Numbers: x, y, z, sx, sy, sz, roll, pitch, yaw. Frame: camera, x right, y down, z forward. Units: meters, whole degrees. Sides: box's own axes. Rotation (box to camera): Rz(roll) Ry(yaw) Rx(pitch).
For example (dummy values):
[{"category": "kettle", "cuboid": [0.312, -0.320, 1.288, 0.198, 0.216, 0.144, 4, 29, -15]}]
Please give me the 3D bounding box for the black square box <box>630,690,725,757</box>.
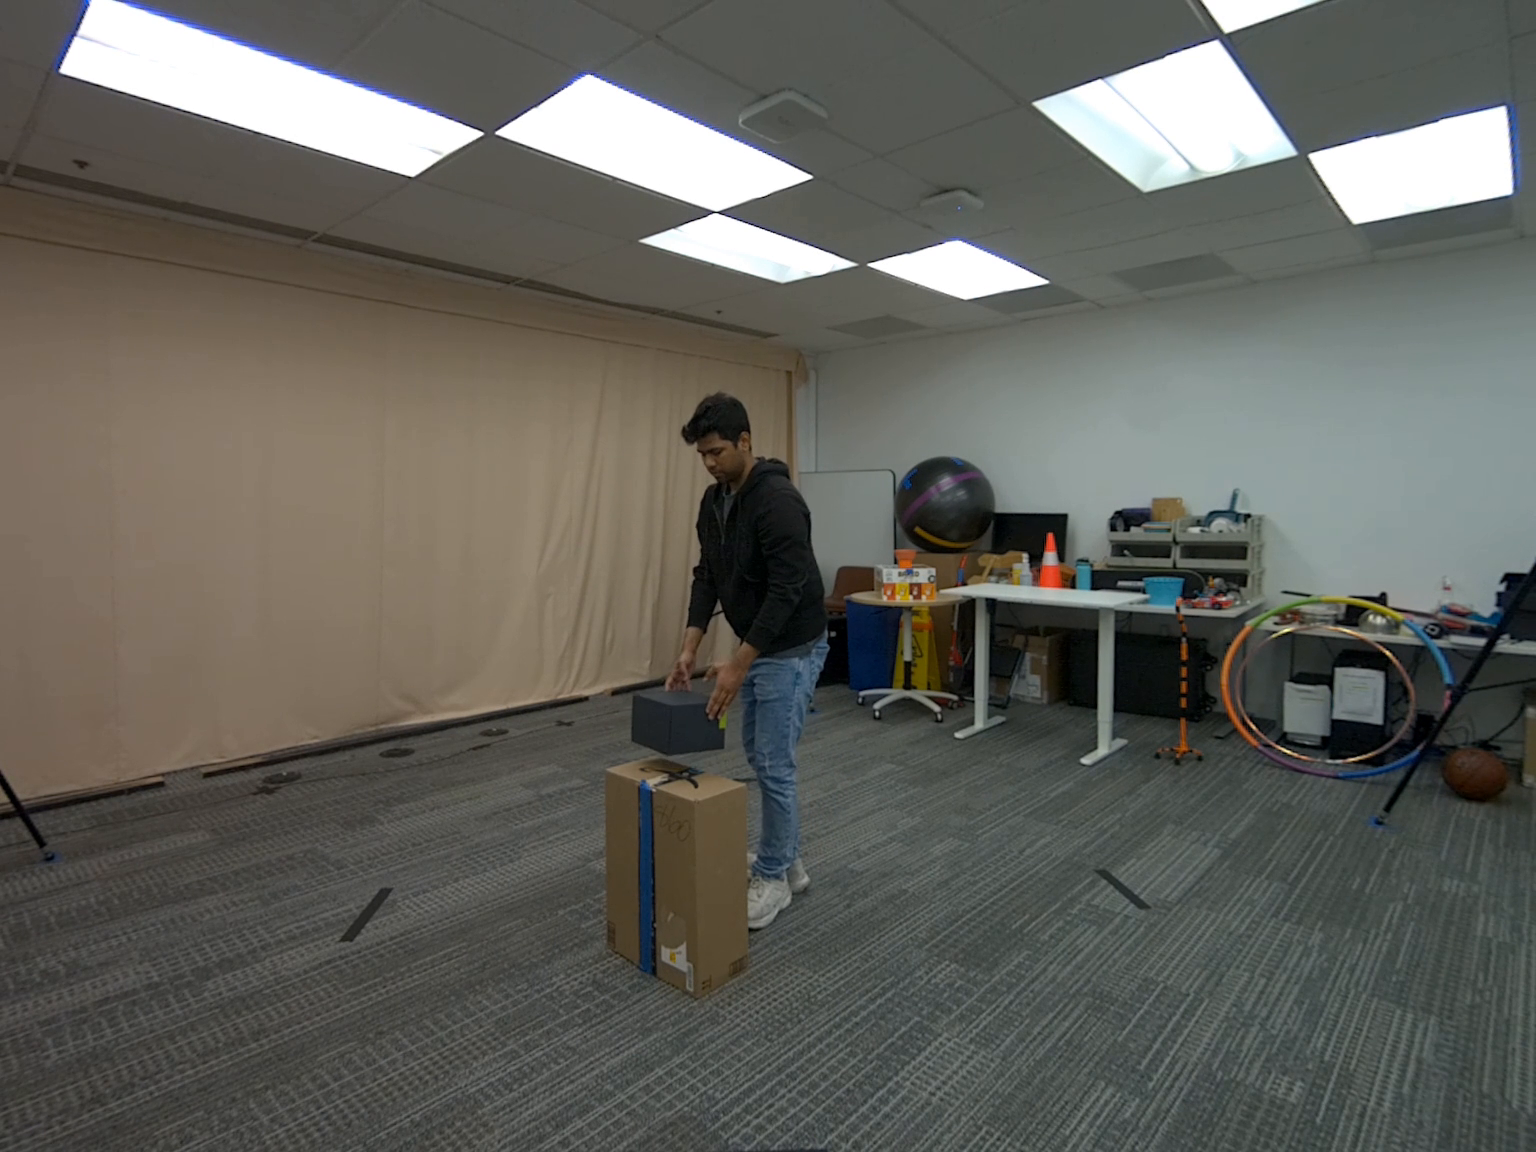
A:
[{"category": "black square box", "cuboid": [-0.285, 0.469, 2.708, 0.210, 0.156, 0.235, 2, 1, -39]}]
